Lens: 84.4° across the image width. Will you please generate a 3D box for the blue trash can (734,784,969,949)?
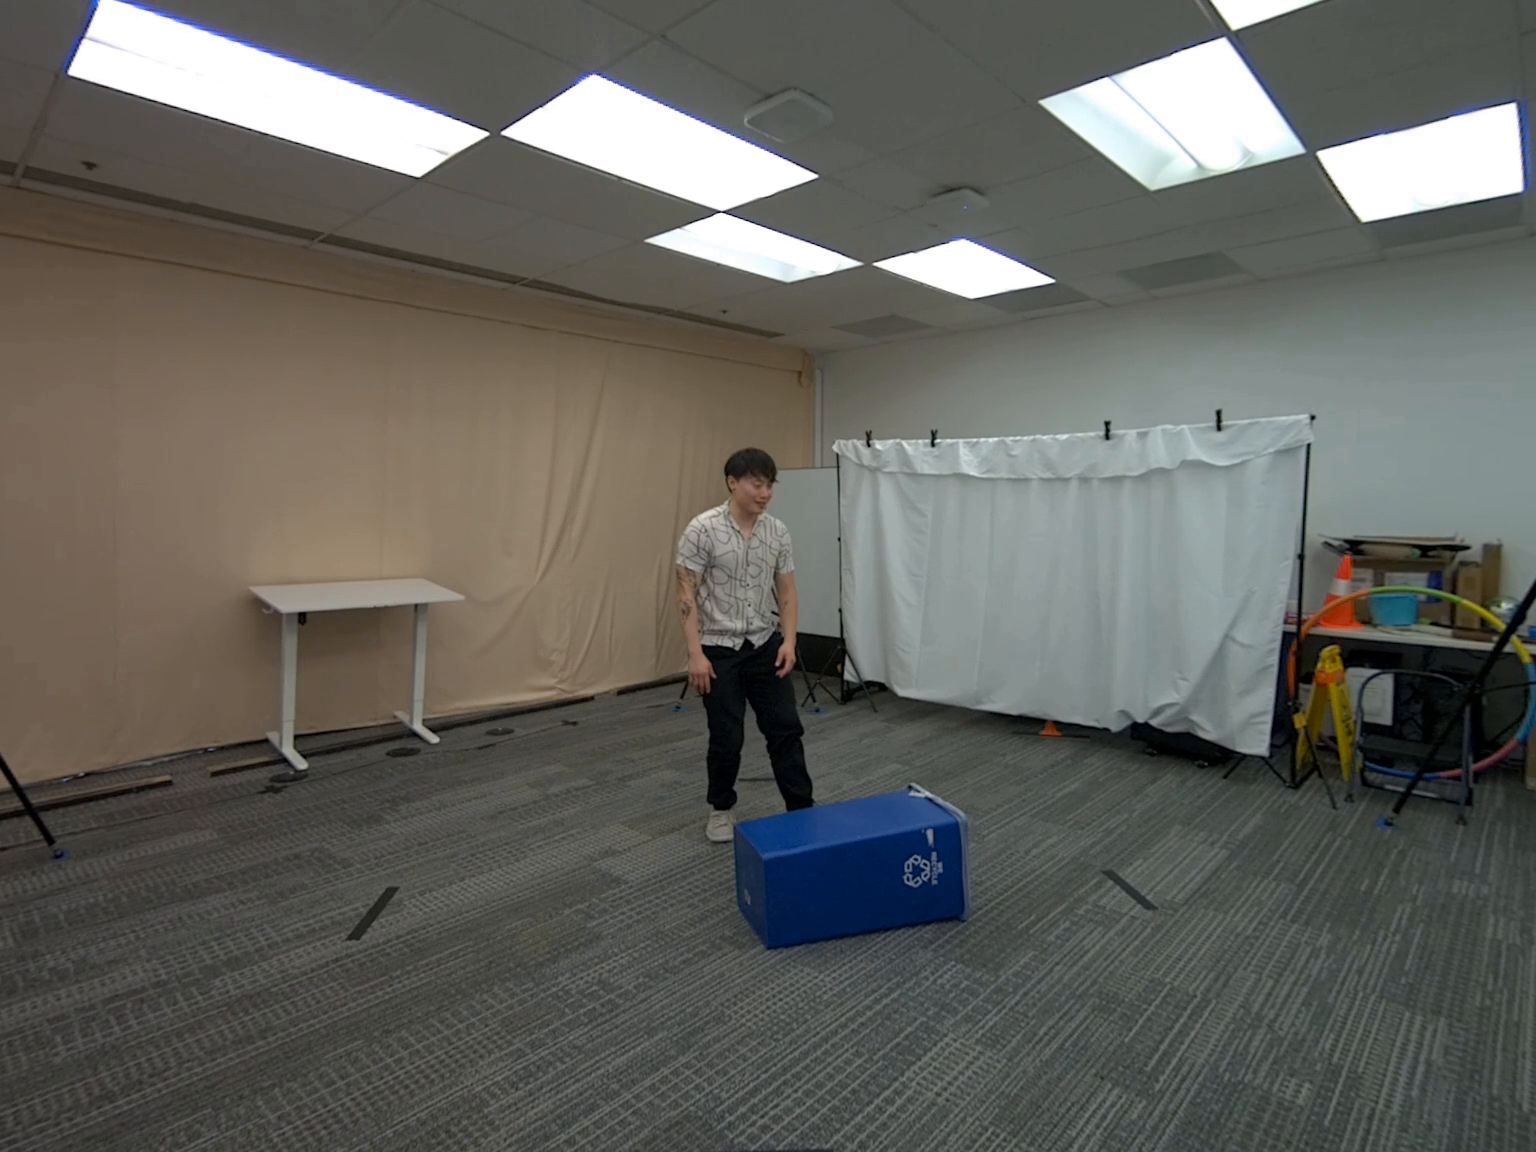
[{"bbox_3d":[0.276,0.984,2.873,0.702,0.373,0.385,-5,5,-17],"label":"blue trash can"}]
